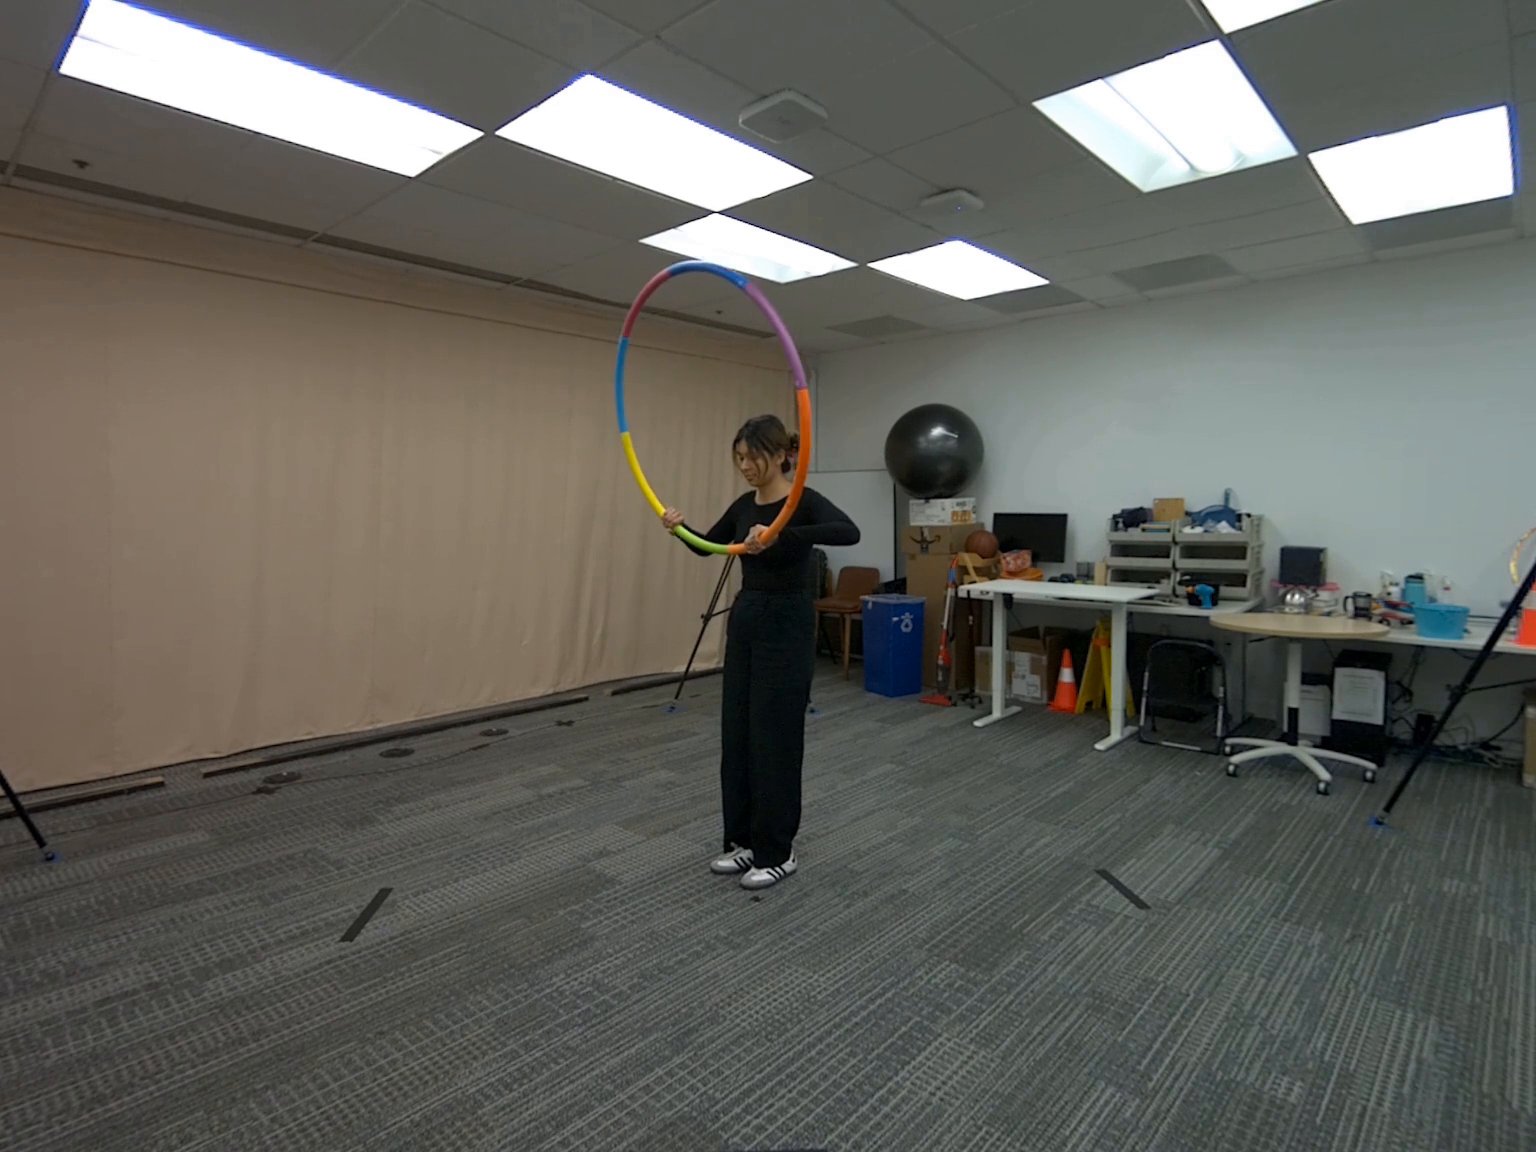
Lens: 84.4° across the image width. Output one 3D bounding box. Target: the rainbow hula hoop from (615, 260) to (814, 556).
[{"bbox_3d":[-0.221,-0.540,2.842,0.035,0.969,1.011,-19,15,-40],"label":"rainbow hula hoop"}]
